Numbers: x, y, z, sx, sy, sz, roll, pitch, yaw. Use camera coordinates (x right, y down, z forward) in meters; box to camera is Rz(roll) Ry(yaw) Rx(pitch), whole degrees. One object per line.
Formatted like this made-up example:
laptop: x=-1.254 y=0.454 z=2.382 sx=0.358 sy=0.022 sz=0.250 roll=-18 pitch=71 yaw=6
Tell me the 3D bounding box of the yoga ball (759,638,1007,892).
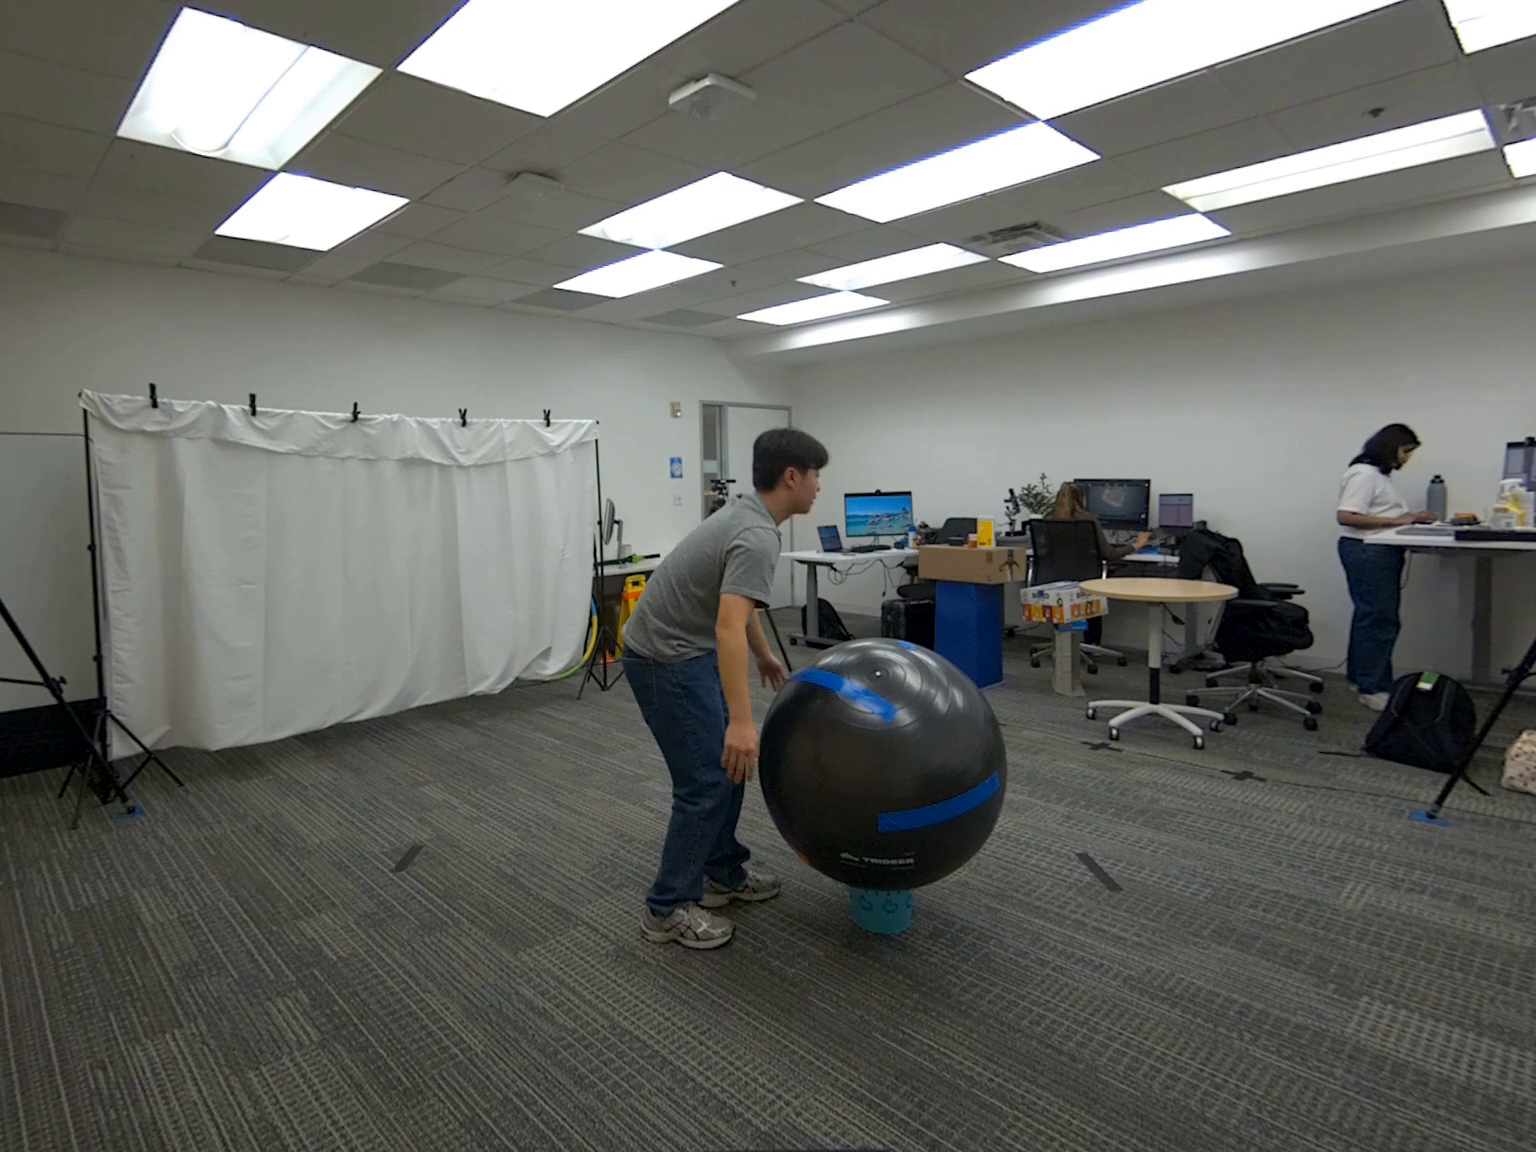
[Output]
yoga ball: x=0.361 y=0.588 z=2.657 sx=0.757 sy=0.755 sz=0.762 roll=-1 pitch=5 yaw=-2
